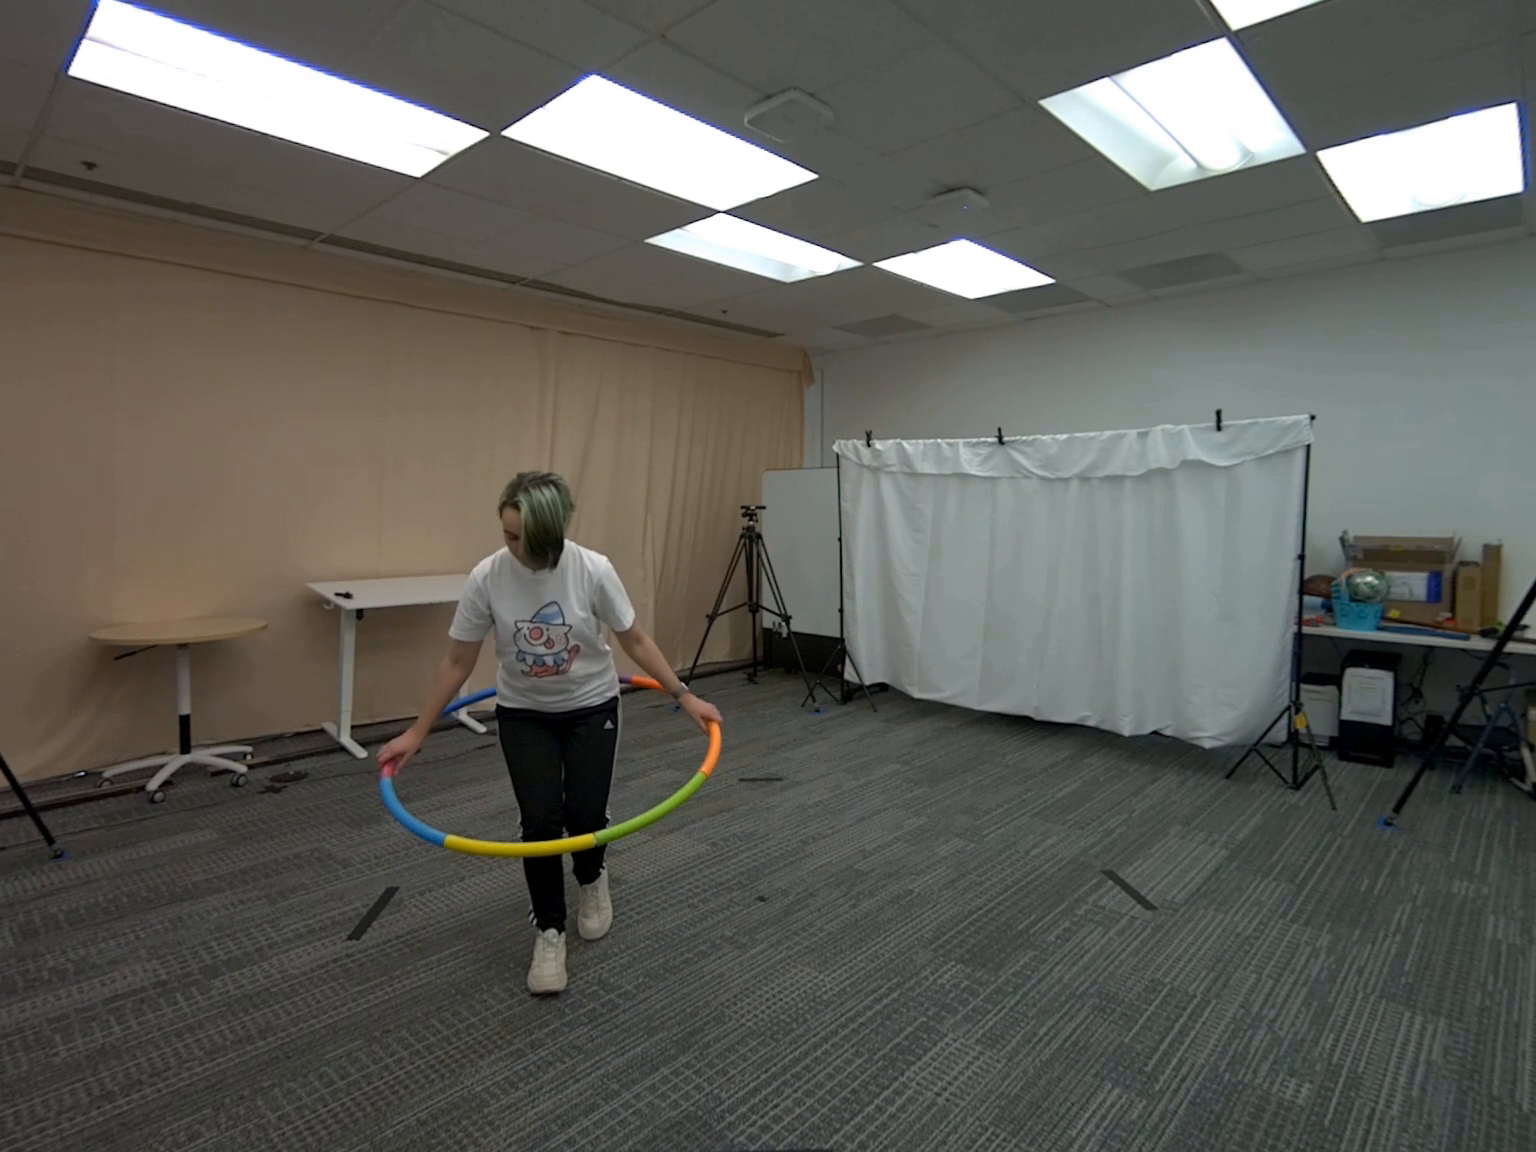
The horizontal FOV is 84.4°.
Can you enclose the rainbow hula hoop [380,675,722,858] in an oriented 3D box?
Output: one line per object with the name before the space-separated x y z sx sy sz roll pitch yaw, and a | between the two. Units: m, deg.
rainbow hula hoop | -0.625 0.511 2.482 0.985 0.051 0.997 -2 19 -1
